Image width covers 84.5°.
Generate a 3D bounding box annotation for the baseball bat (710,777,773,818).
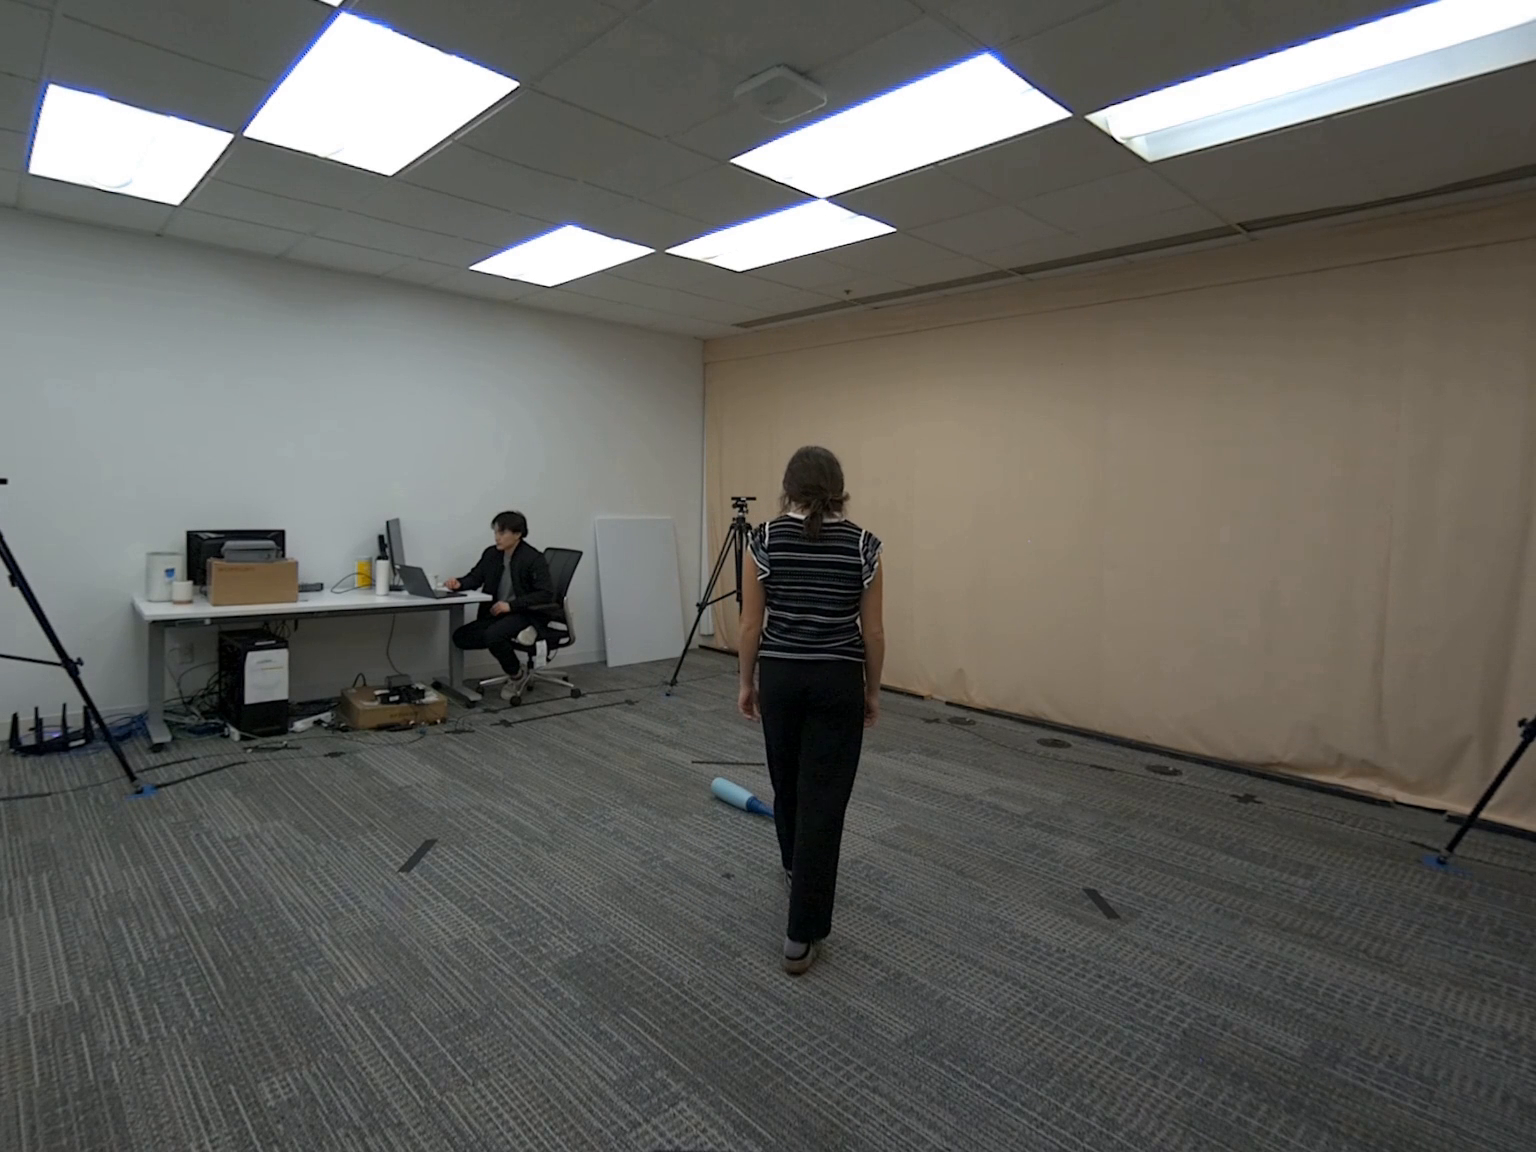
[{"bbox_3d":[-0.065,1.018,3.739,0.087,0.088,0.558,-2,10,-42],"label":"baseball bat"}]
